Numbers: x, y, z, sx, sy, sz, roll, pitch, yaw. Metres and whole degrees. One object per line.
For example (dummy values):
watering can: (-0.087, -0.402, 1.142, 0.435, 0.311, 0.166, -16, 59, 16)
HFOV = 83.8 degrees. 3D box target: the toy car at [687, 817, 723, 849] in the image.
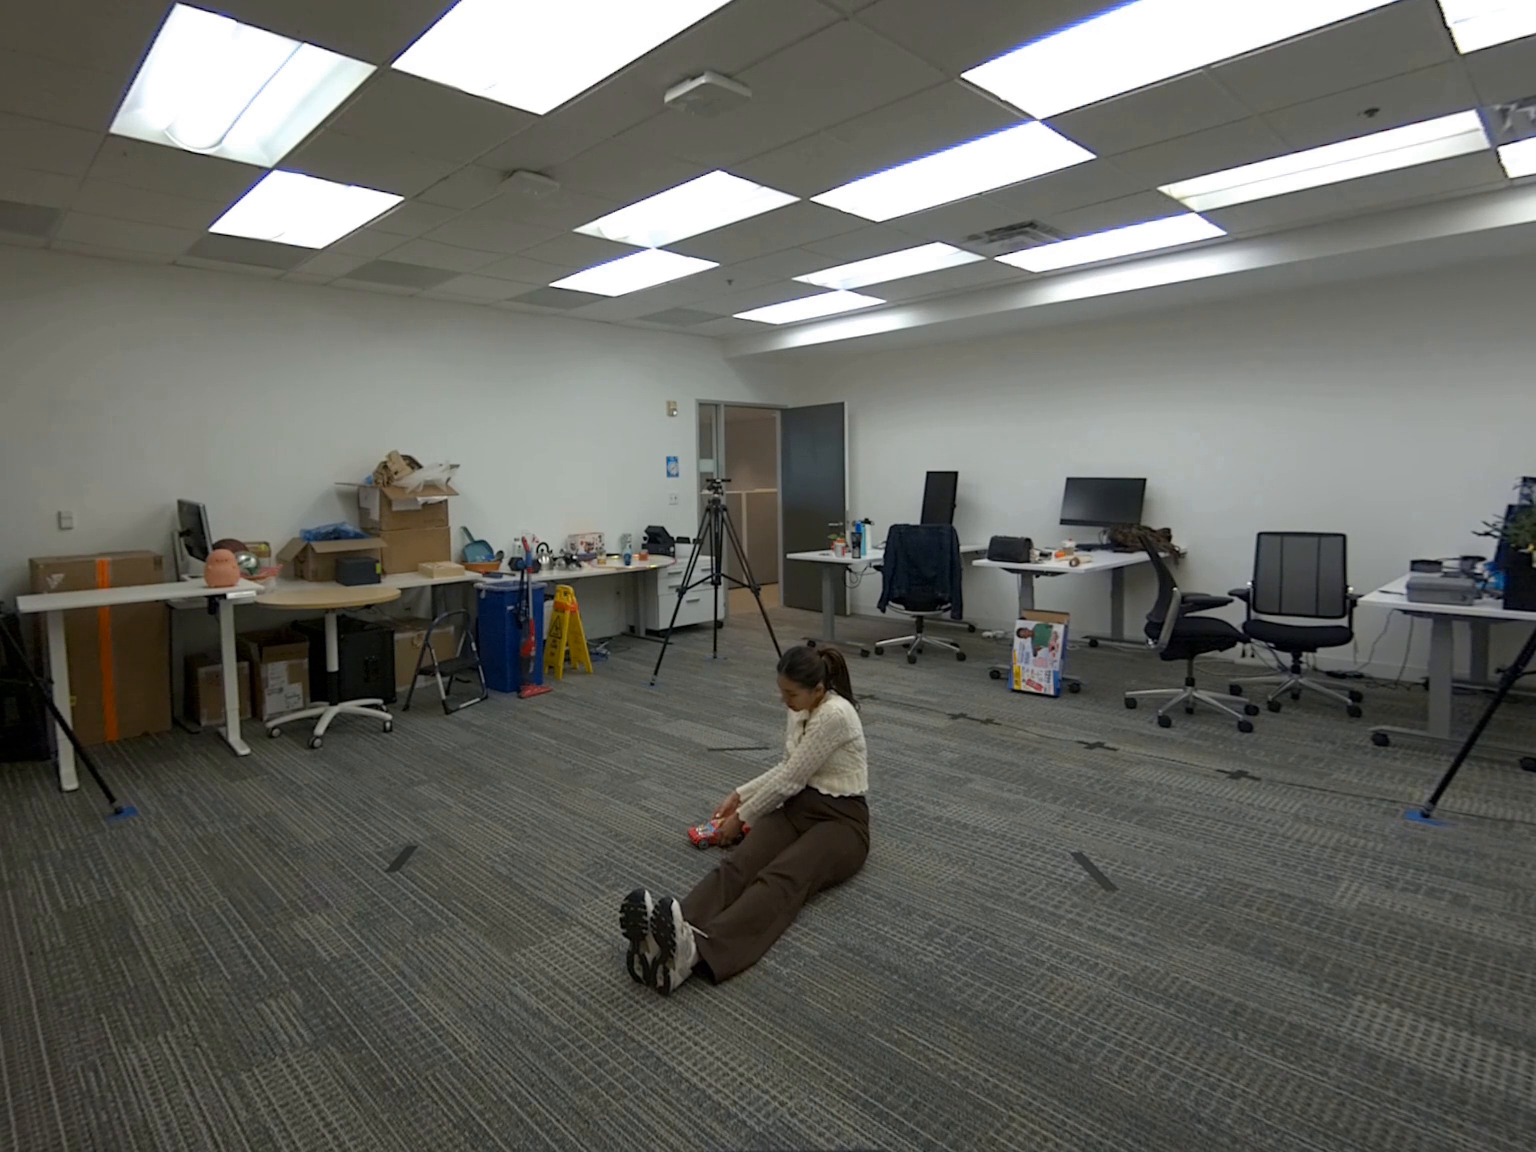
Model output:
toy car: (-0.174, 0.993, 3.310, 0.251, 0.082, 0.133, -14, 10, -20)
